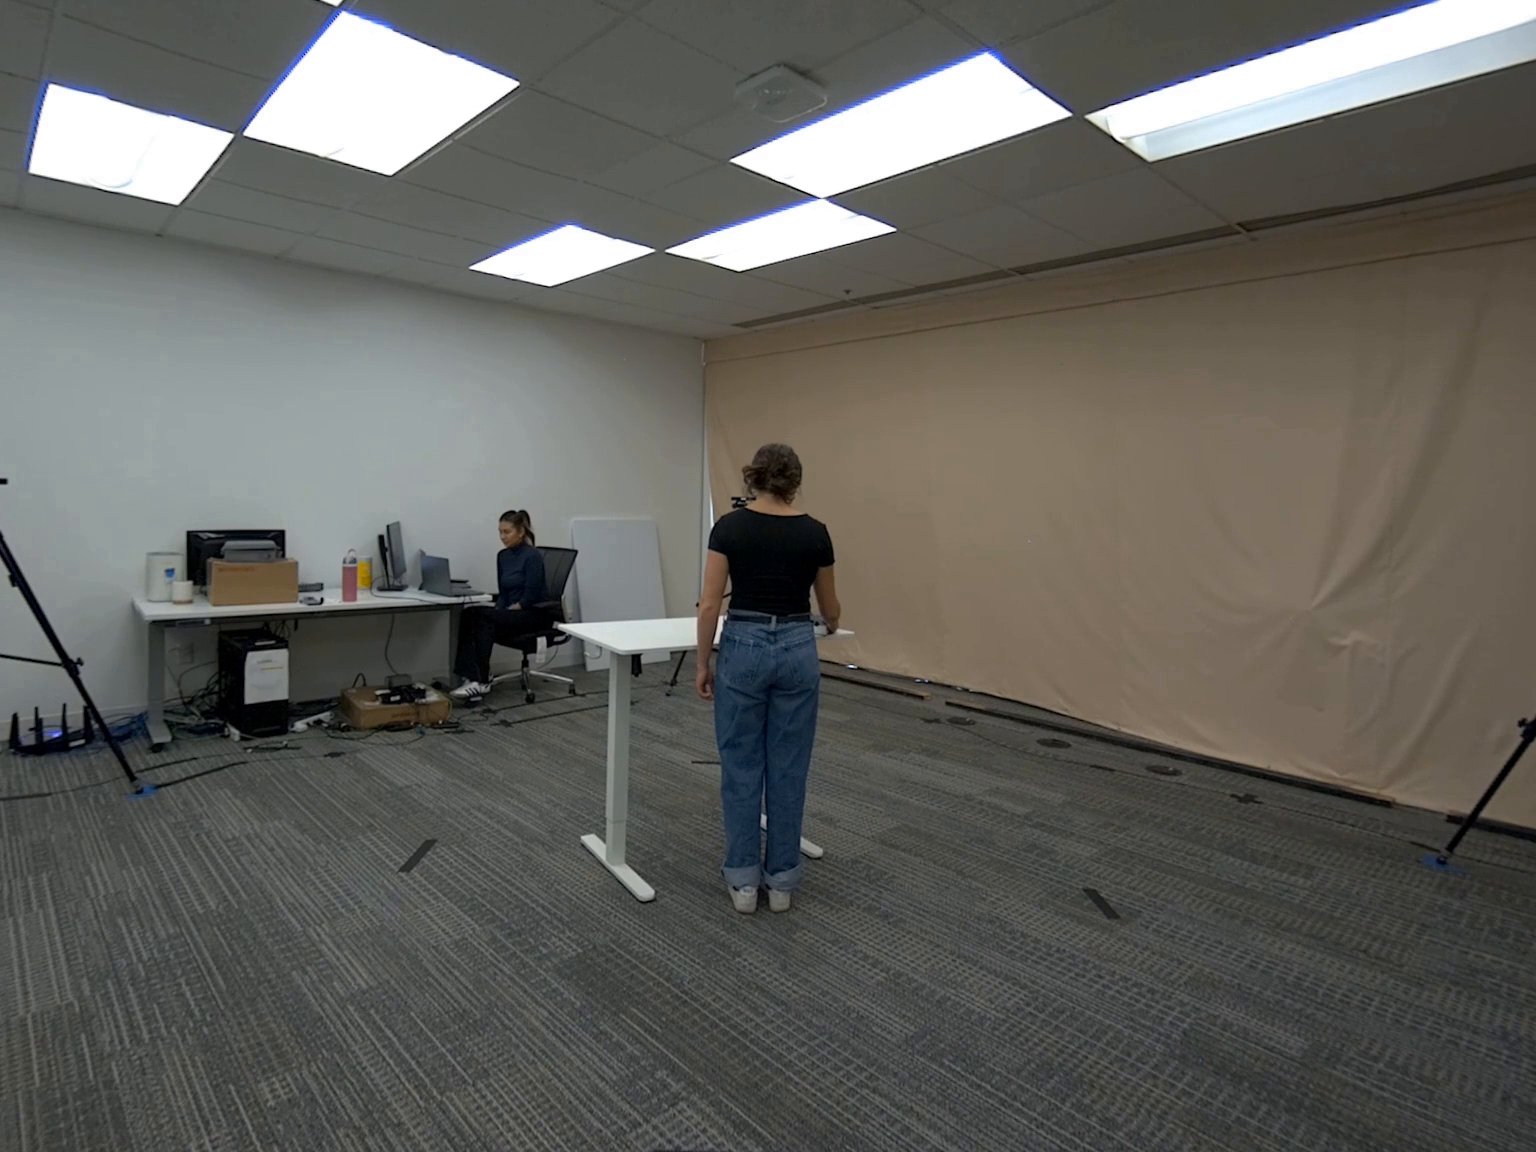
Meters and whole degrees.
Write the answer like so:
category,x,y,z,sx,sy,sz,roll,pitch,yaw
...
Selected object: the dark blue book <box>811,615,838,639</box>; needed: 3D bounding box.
category,x,y,z,sx,sy,sz,roll,pitch,yaw
dark blue book,0.169,0.196,3.342,0.166,0.045,0.242,4,6,17
